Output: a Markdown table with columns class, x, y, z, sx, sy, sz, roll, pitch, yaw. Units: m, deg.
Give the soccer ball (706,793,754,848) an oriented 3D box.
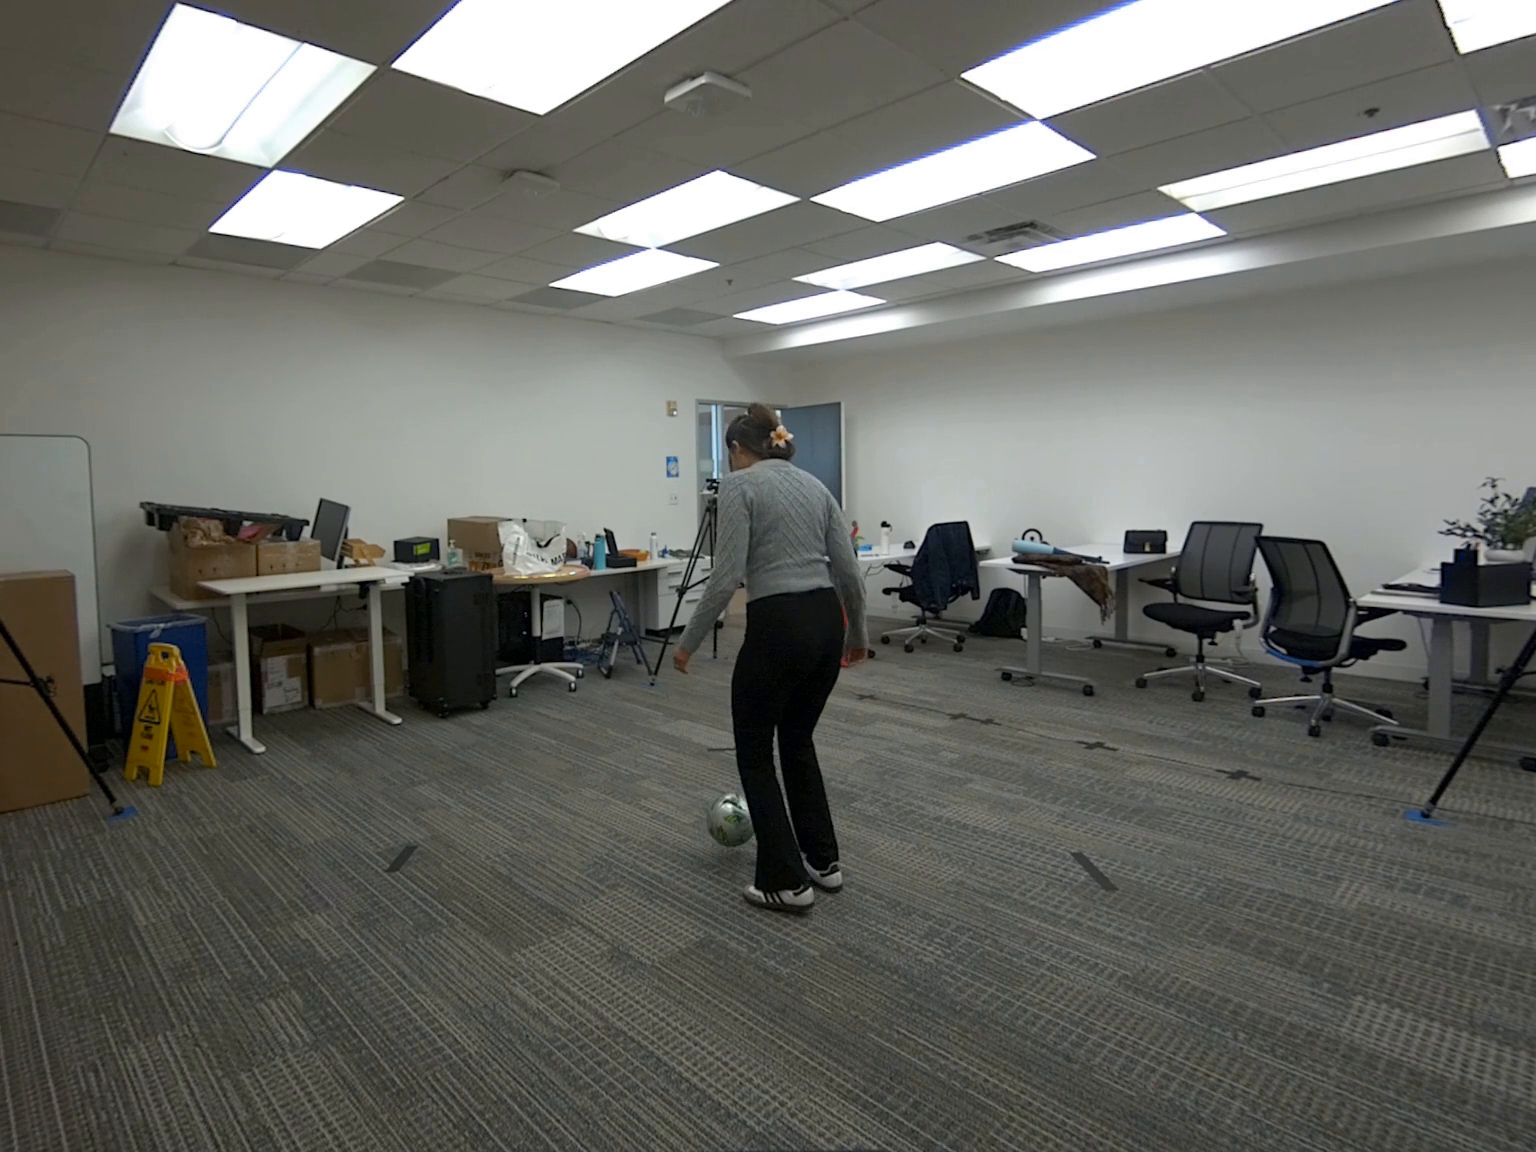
| class | x | y | z | sx | sy | sz | roll | pitch | yaw |
| --- | --- | --- | --- | --- | --- | --- | --- | --- | --- |
| soccer ball | -0.126 | 0.914 | 3.156 | 0.187 | 0.187 | 0.188 | -1 | 5 | -2 |
